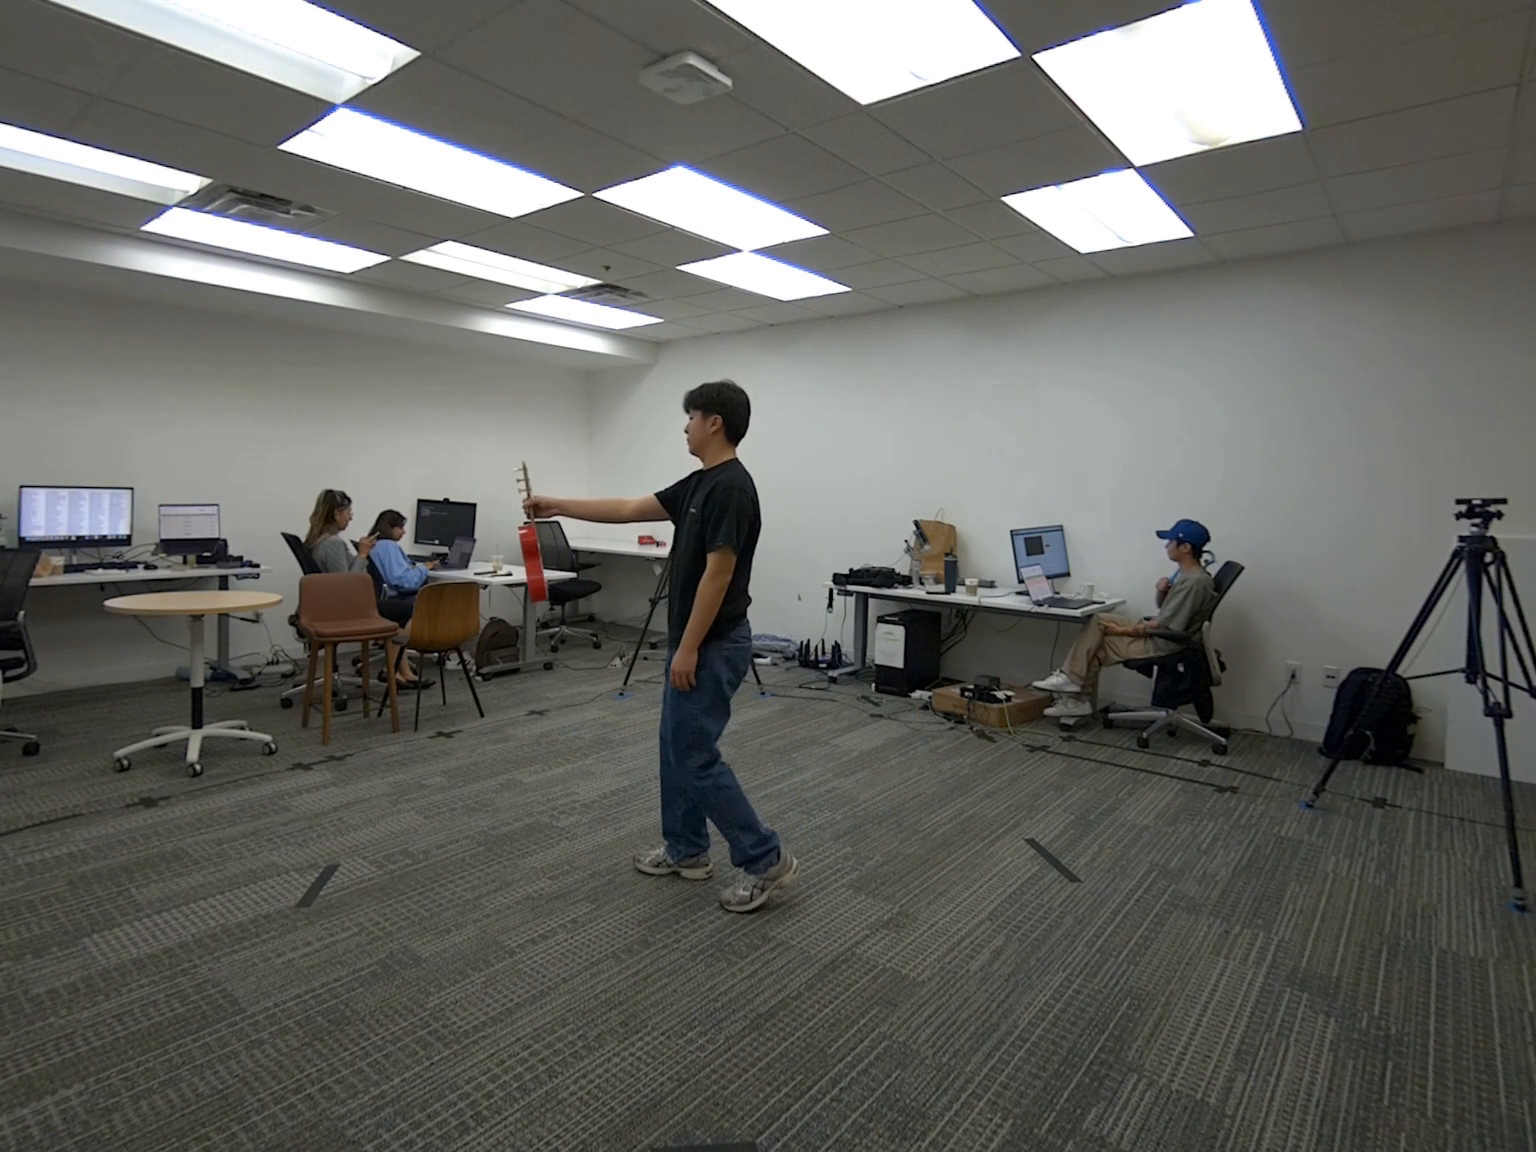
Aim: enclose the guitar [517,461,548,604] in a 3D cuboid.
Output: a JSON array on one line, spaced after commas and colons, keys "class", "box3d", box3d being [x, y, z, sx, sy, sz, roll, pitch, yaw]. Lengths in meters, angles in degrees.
[{"class": "guitar", "box3d": [-0.865, -0.159, 3.046, 0.070, 0.499, 0.195, -9, -1, -14]}]
